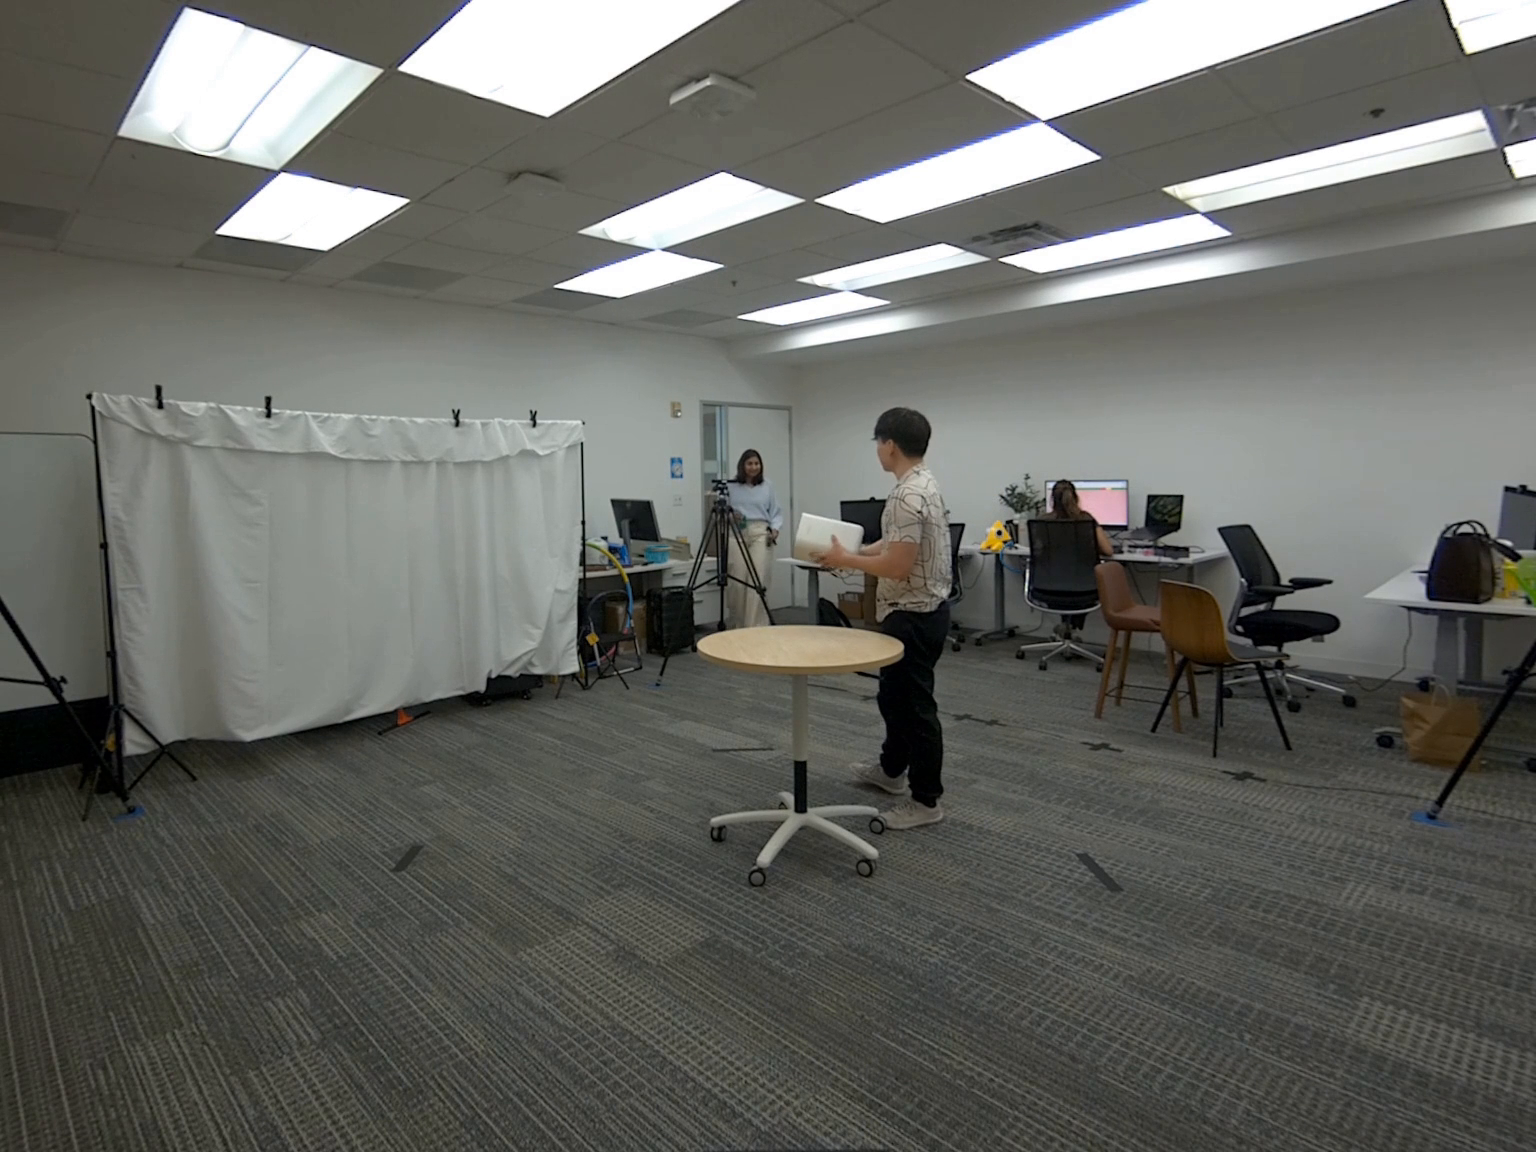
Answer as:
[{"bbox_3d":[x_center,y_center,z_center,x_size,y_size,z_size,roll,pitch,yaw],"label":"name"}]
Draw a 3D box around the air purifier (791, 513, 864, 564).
[{"bbox_3d":[0.256,-0.145,3.532,0.268,0.173,0.167,13,-24,9],"label":"air purifier"}]
